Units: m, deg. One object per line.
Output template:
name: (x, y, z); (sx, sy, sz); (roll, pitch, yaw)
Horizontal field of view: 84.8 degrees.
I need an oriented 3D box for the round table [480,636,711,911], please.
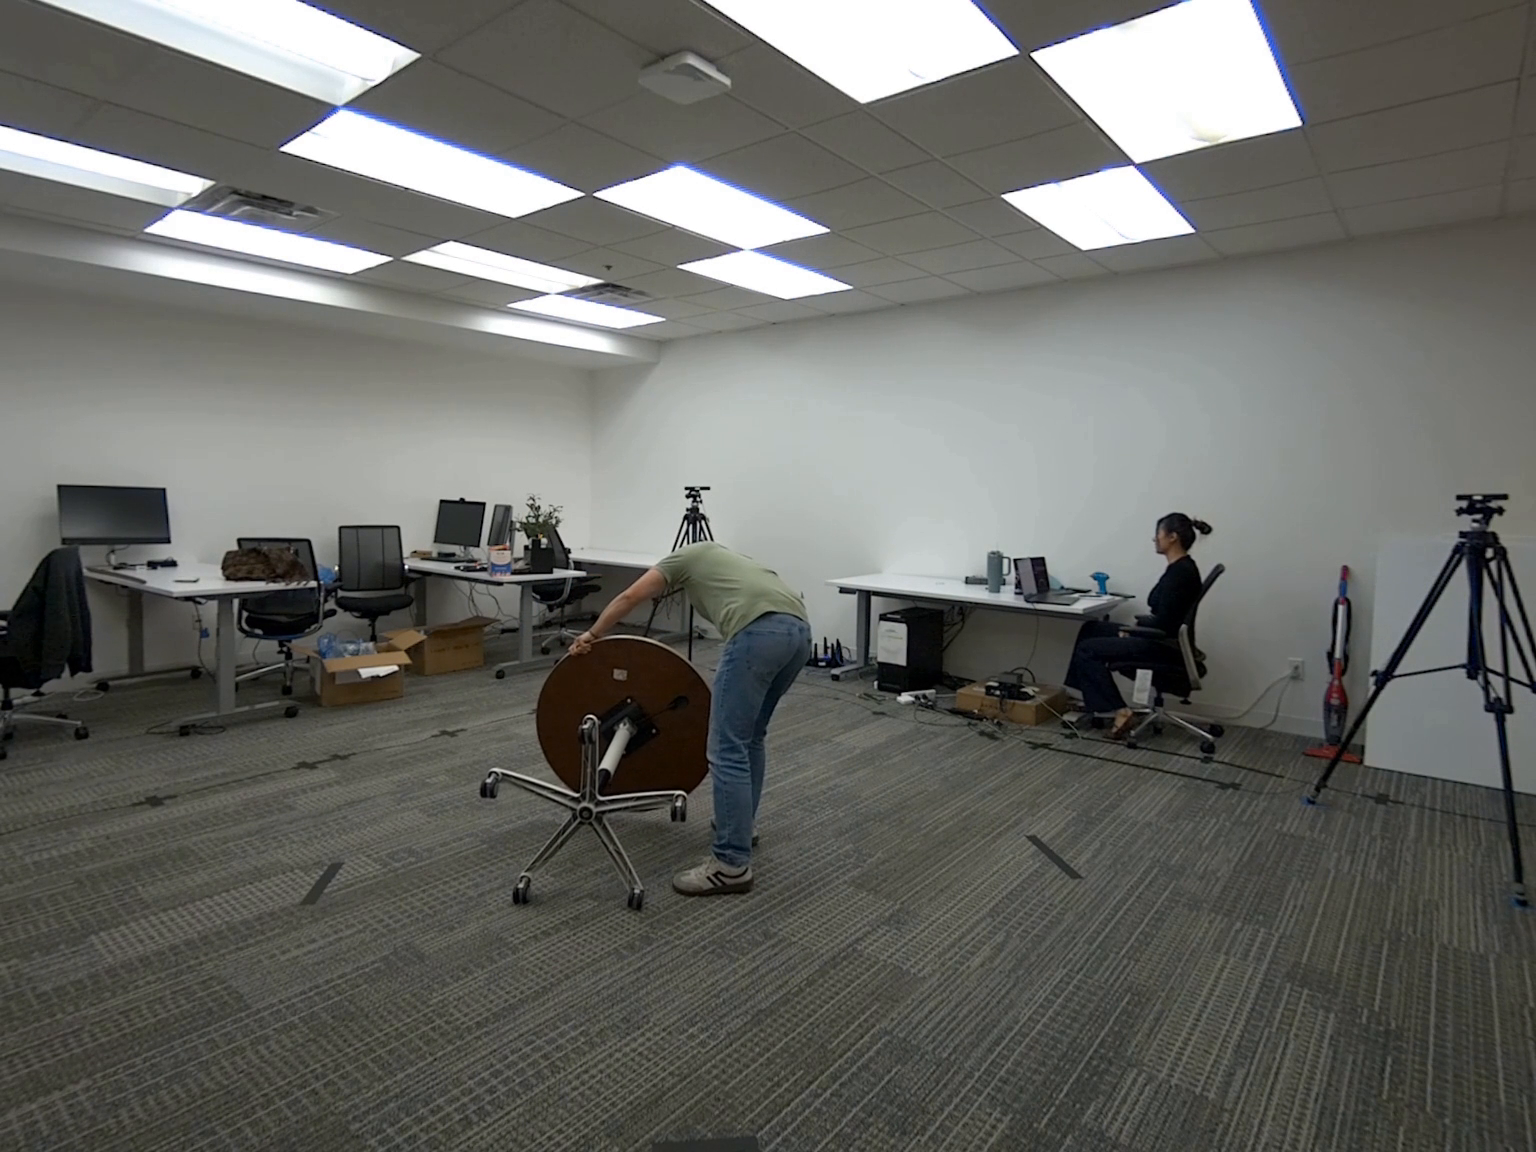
round table: (-0.603, 0.713, 3.113); (0.768, 0.755, 0.799); (1, 13, 4)
